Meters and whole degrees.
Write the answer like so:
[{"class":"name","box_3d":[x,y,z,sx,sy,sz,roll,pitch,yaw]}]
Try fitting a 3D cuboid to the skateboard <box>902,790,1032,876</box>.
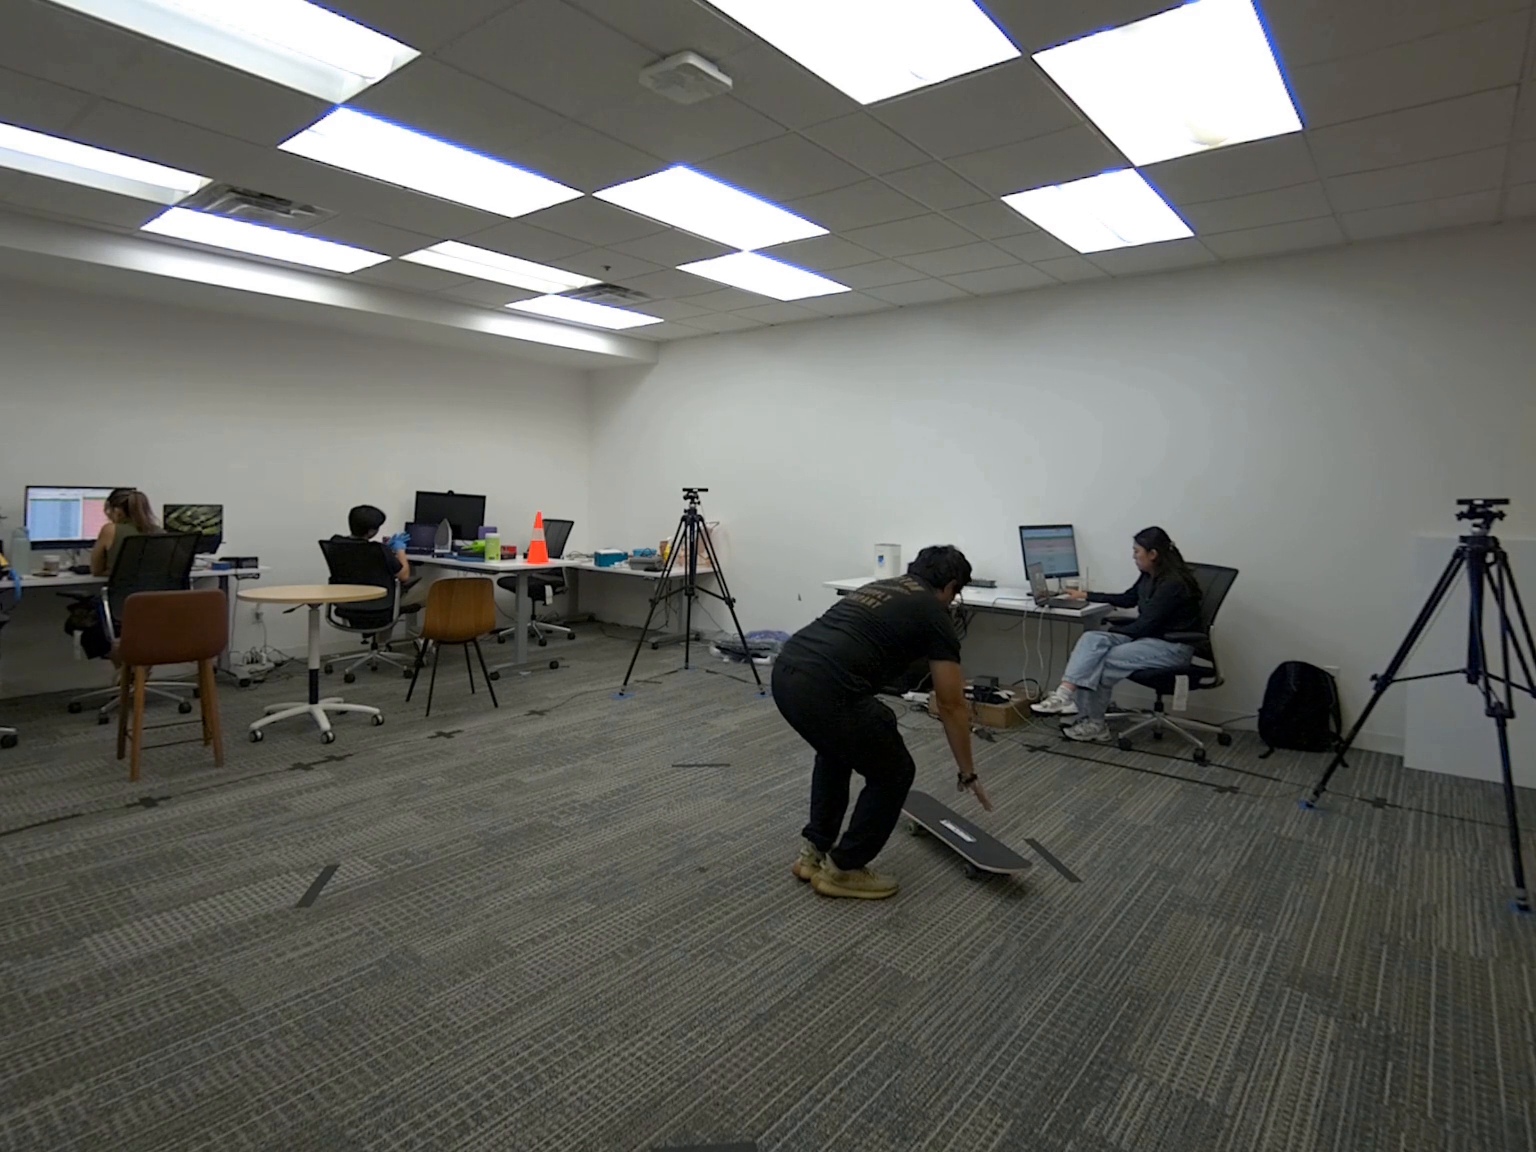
[{"class":"skateboard","box_3d":[0.726,1.011,3.311,0.190,0.110,0.804,-1,6,-20]}]
